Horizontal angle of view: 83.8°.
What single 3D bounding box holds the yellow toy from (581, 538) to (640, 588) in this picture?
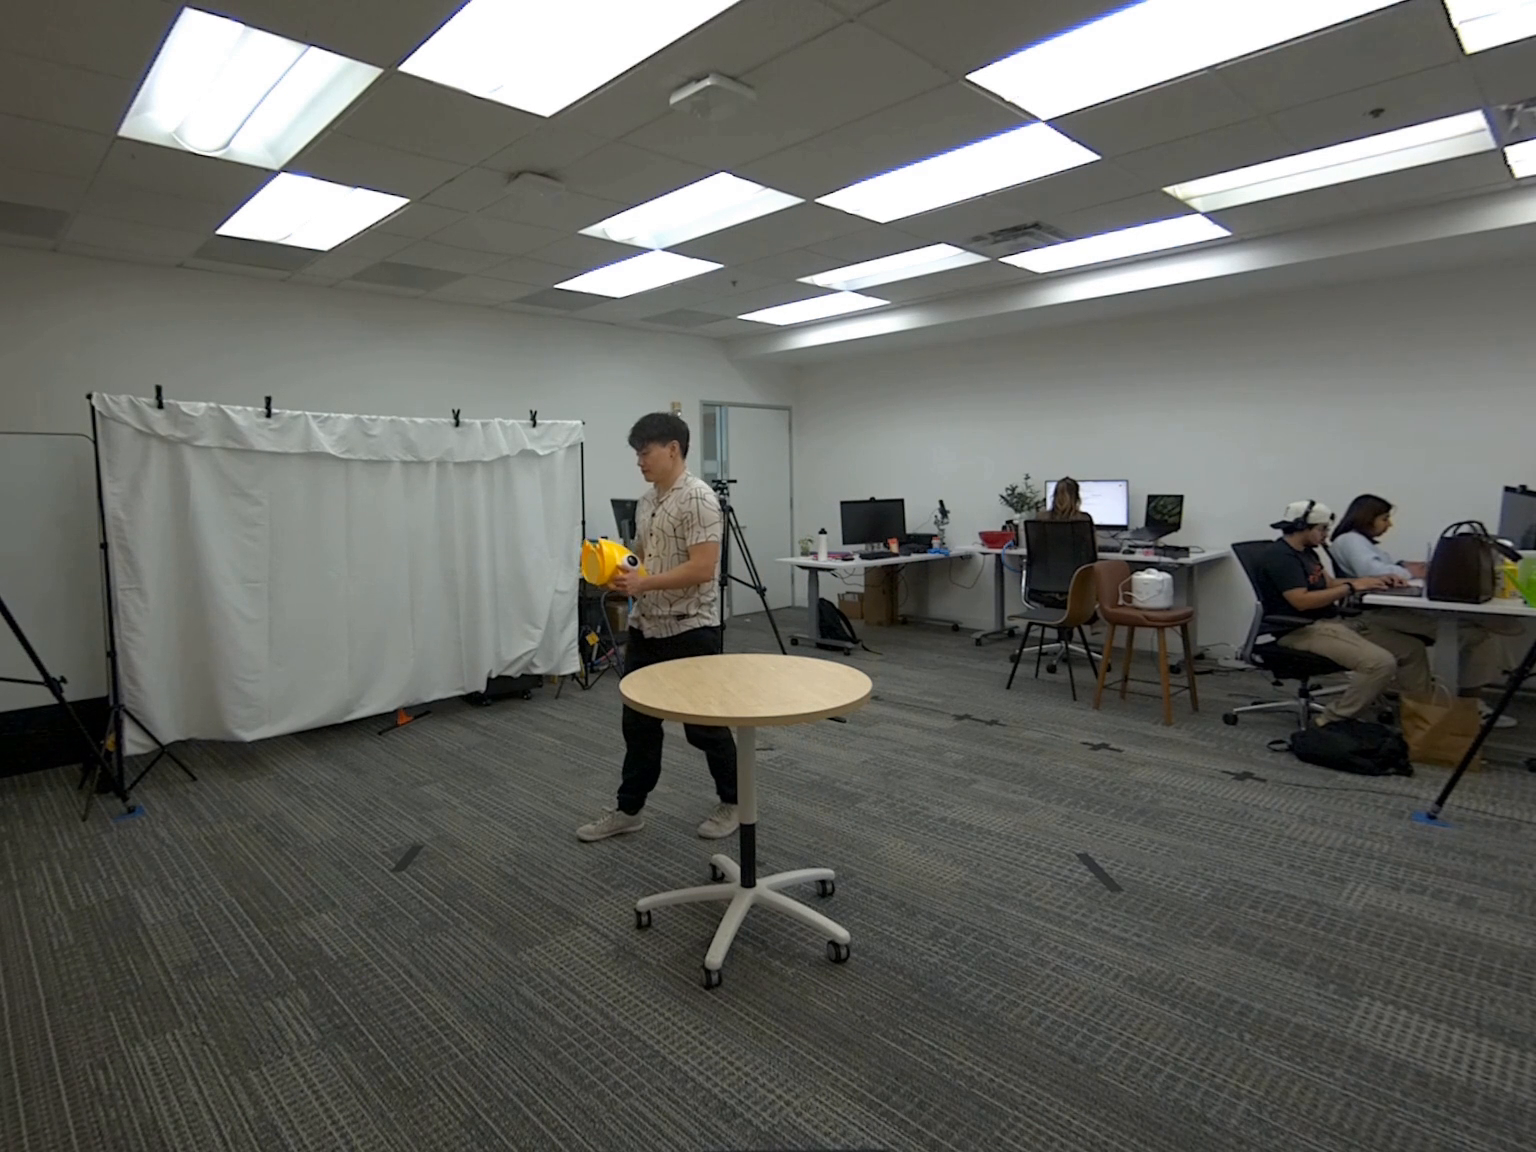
[{"bbox_3d":[-0.555,-0.050,3.211,0.225,0.192,0.211,-4,7,-34],"label":"yellow toy"}]
